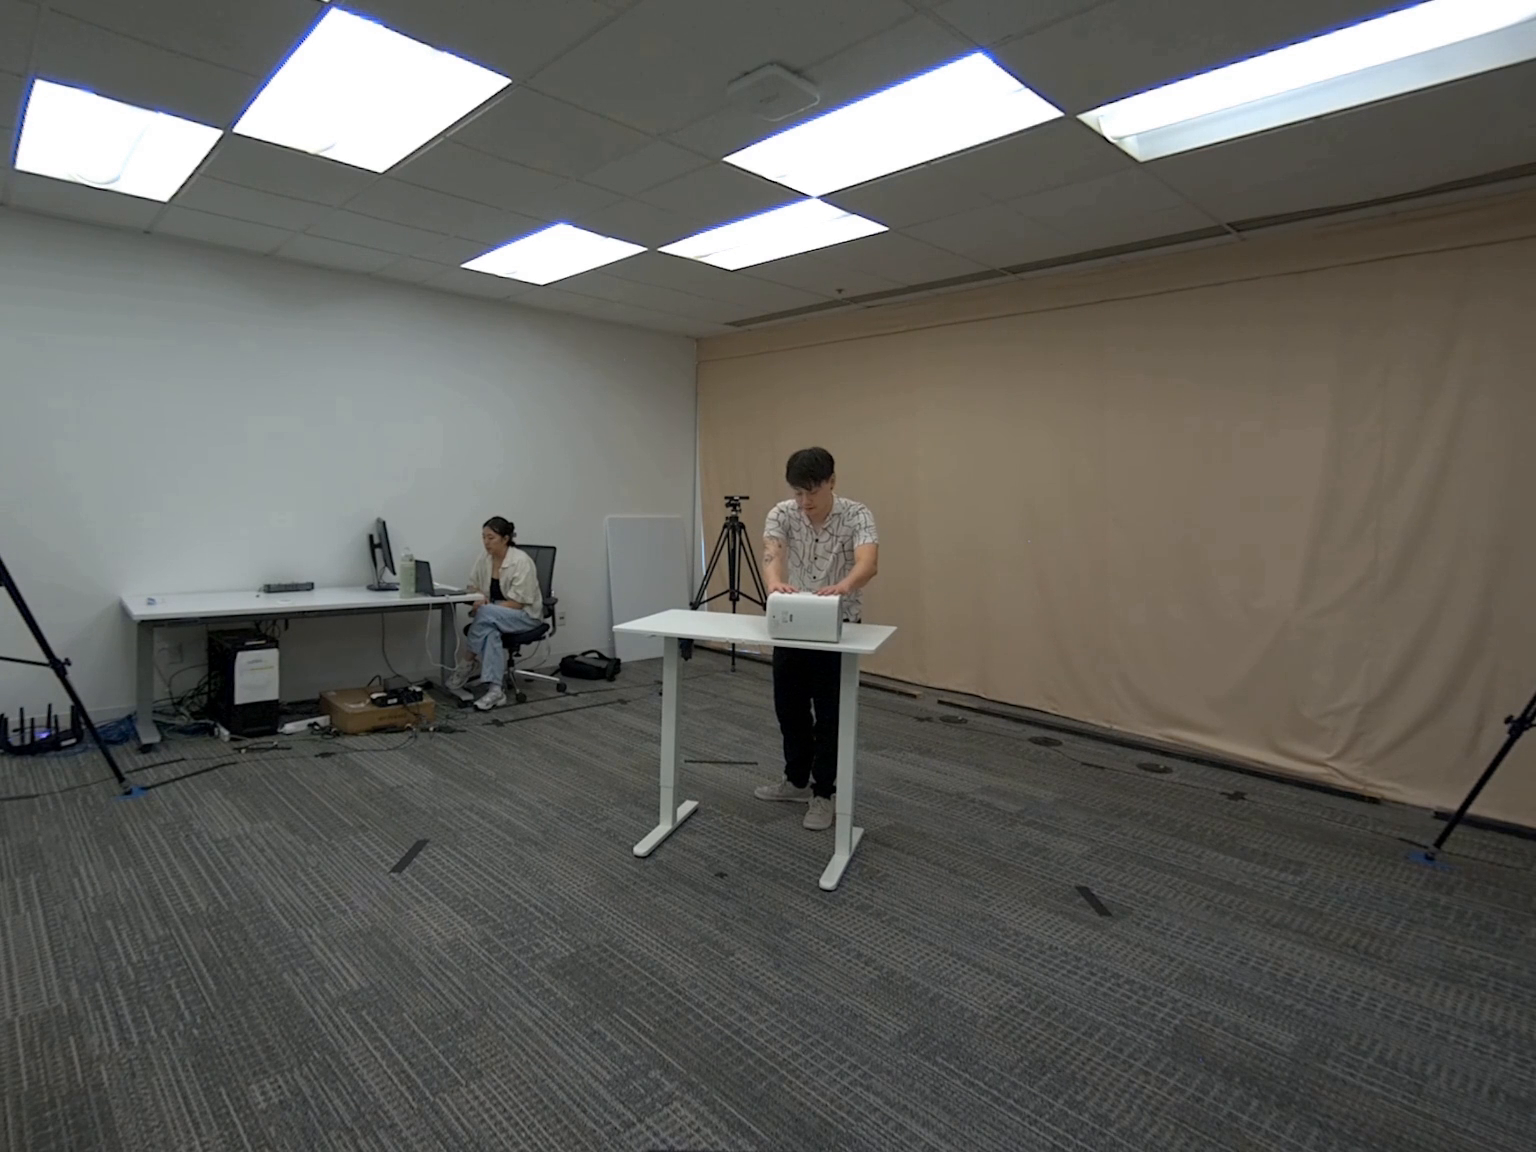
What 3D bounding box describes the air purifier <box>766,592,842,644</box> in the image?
[{"bbox_3d":[0.122,0.146,3.080,0.268,0.171,0.170,3,4,14],"label":"air purifier"}]
